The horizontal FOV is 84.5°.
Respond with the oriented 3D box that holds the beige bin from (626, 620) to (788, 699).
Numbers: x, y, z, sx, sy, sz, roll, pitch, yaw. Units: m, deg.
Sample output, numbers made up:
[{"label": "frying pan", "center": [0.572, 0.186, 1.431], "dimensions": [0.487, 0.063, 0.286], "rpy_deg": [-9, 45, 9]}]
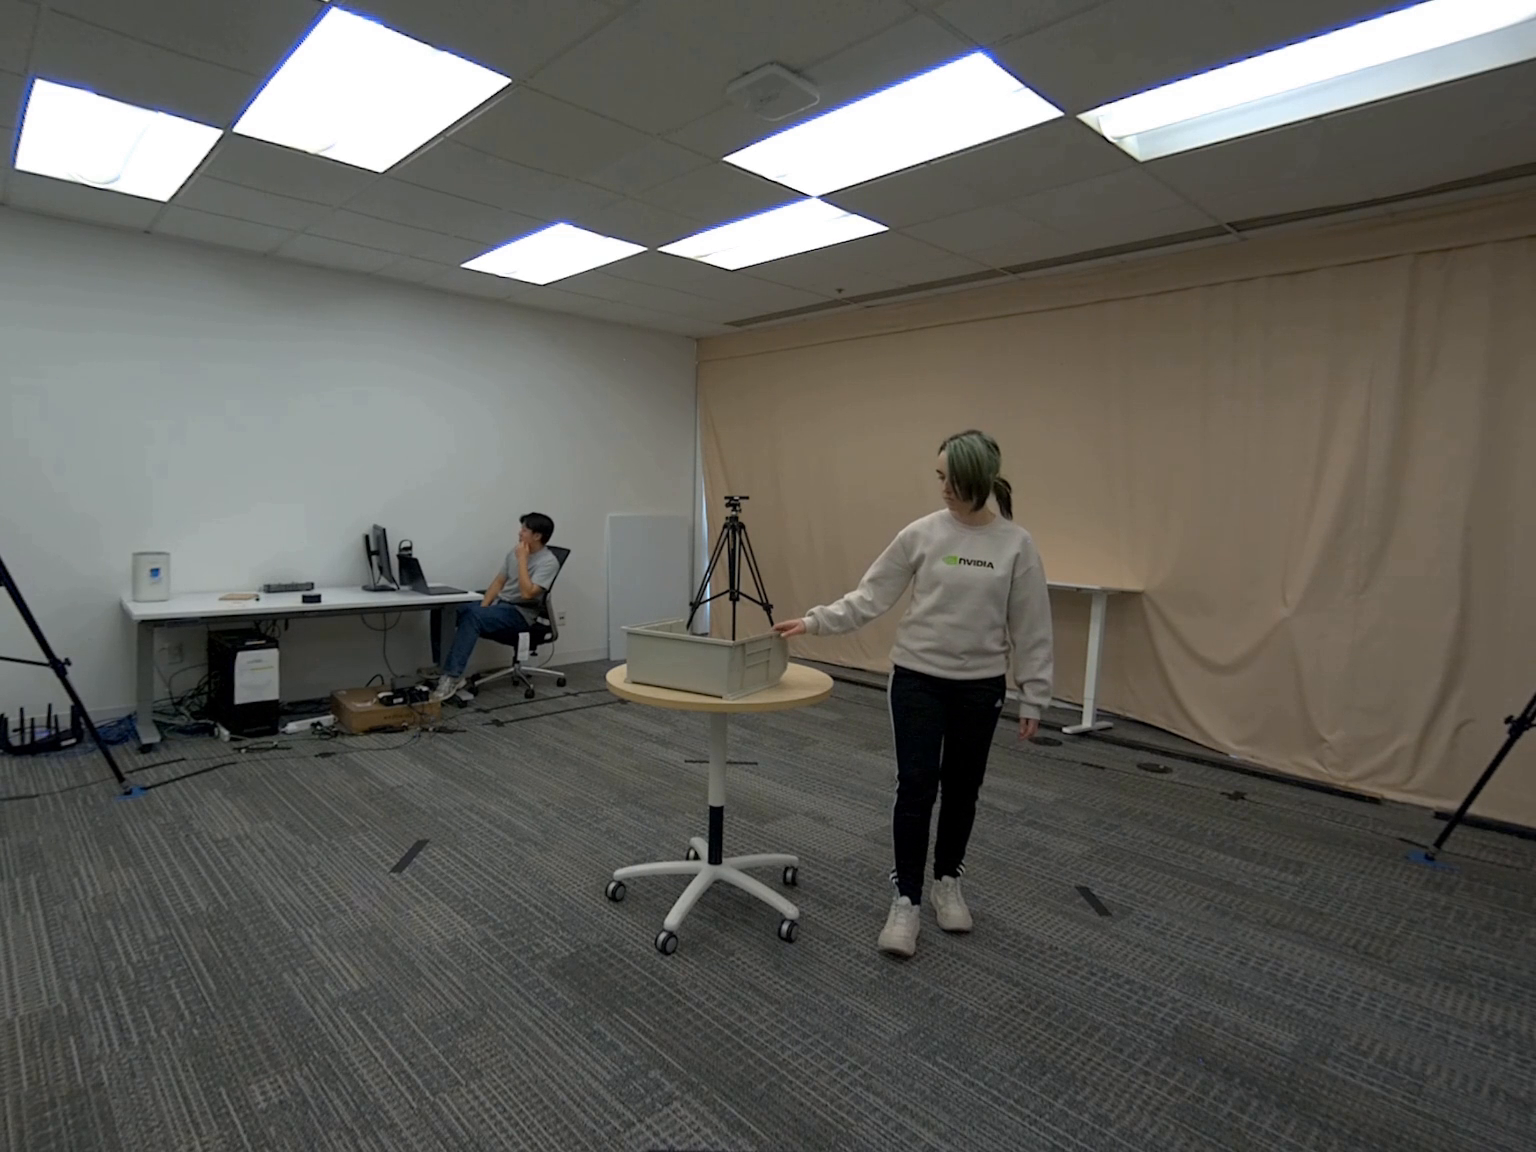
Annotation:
[{"label": "beige bin", "center": [-0.206, 0.256, 2.749], "dimensions": [0.431, 0.188, 0.370], "rpy_deg": [4, 7, 29]}]
